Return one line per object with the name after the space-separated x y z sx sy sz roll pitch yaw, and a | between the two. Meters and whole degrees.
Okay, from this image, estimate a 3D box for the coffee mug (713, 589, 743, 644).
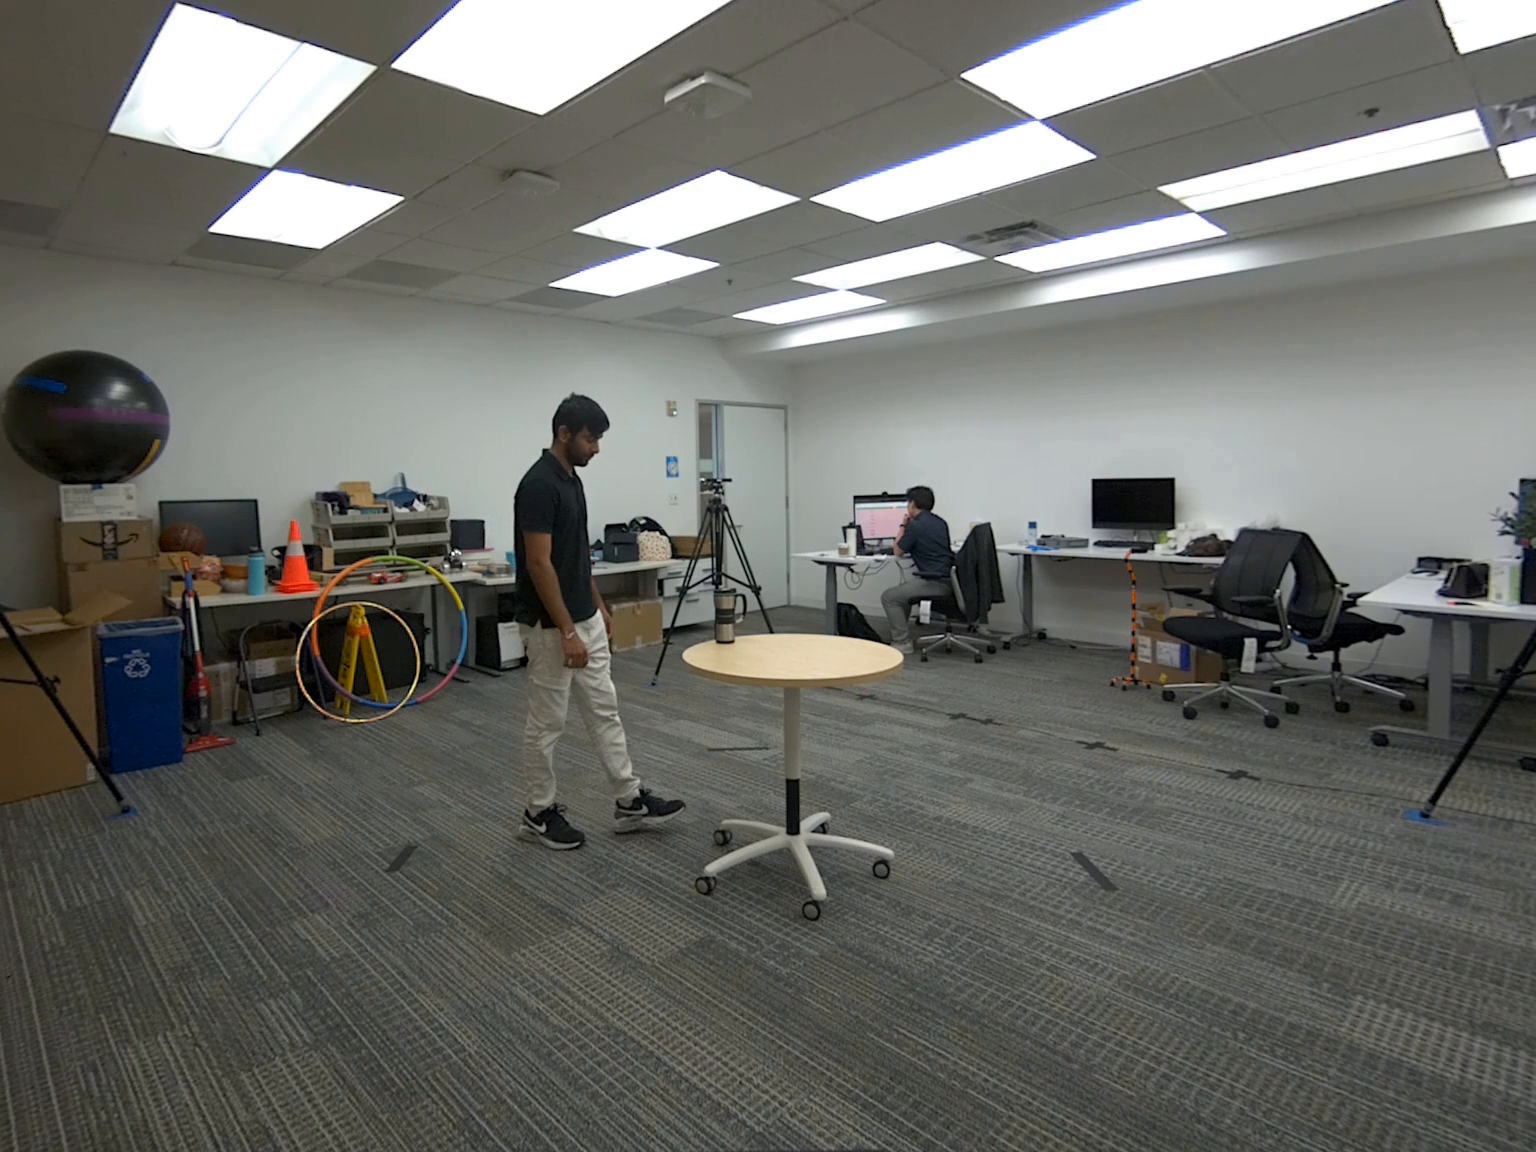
-0.145 0.151 3.199 0.124 0.203 0.086 -3 0 15 | coffee mug
